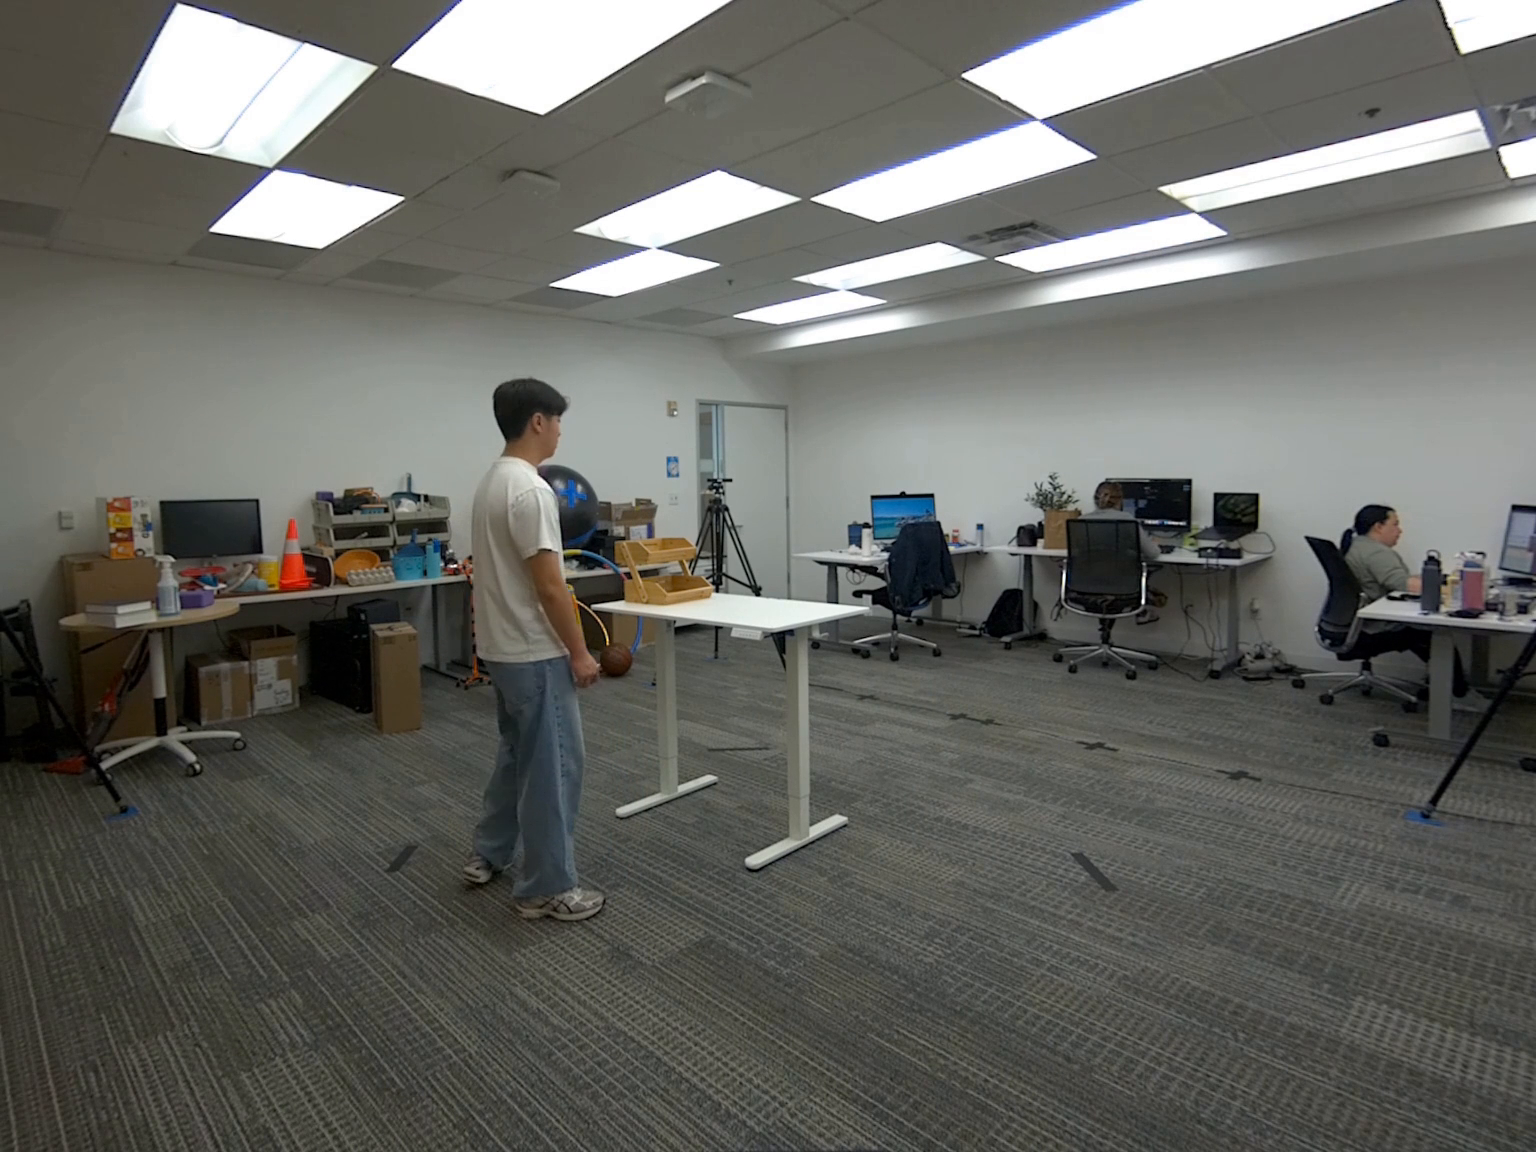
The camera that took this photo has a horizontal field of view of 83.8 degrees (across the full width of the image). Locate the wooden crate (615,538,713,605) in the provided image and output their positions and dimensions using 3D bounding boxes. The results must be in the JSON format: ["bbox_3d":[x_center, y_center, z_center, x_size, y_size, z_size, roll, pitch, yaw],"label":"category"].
[{"bbox_3d":[-0.451,-0.029,3.726,0.311,0.272,0.316,1,5,37],"label":"wooden crate"}]
